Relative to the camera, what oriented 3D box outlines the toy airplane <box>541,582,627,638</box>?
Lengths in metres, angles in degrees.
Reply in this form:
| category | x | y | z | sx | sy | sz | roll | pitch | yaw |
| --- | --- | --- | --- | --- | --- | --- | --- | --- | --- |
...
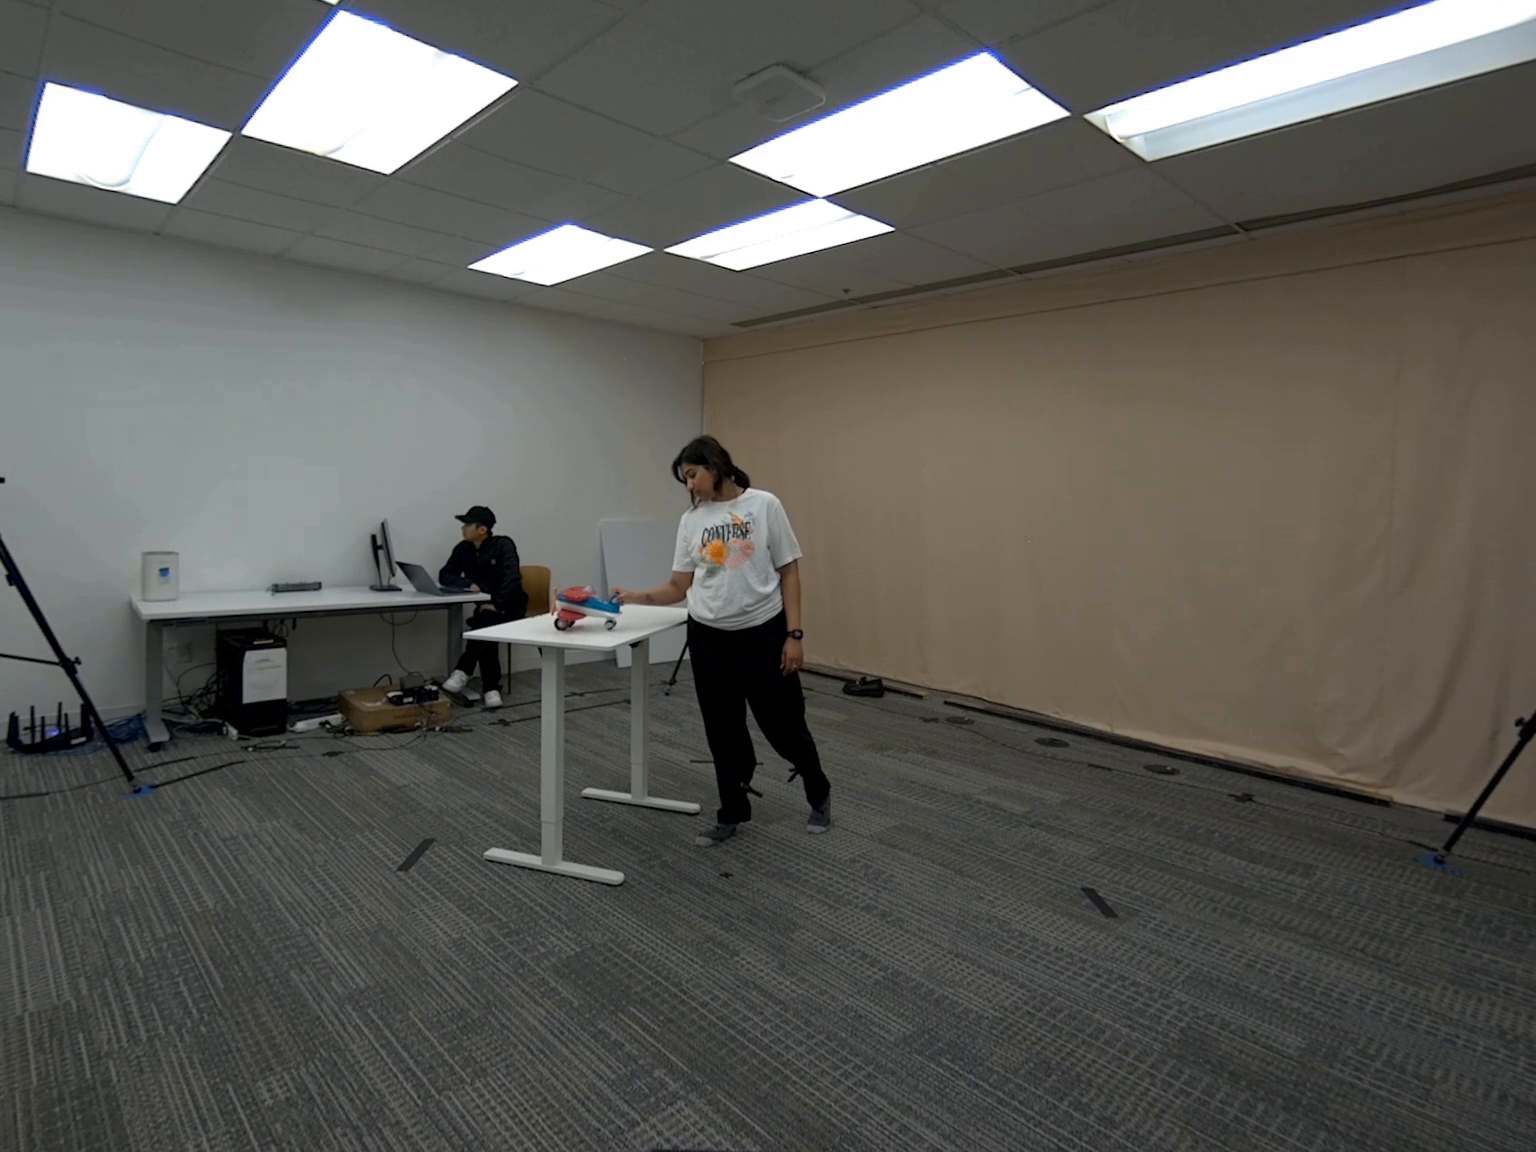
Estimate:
| category | x | y | z | sx | sy | sz | roll | pitch | yaw |
| --- | --- | --- | --- | --- | --- | --- | --- | --- | --- |
| toy airplane | -0.701 | 0.122 | 3.199 | 0.255 | 0.156 | 0.256 | -5 | 5 | -23 |
